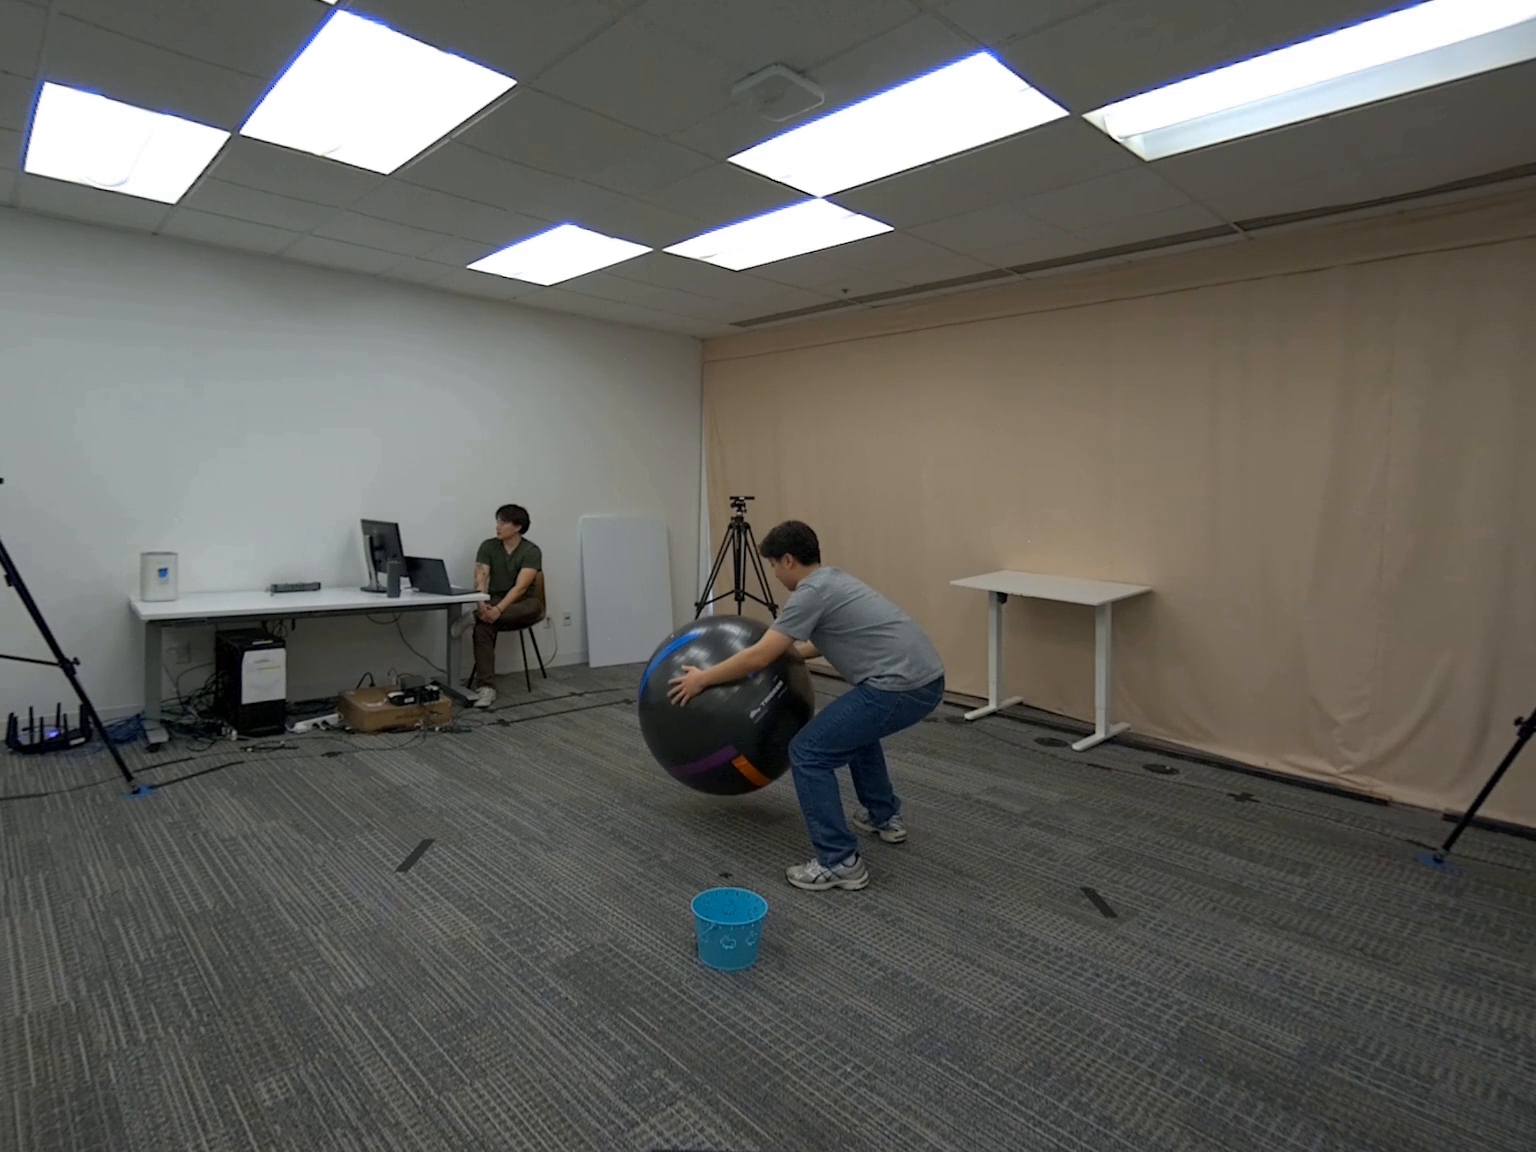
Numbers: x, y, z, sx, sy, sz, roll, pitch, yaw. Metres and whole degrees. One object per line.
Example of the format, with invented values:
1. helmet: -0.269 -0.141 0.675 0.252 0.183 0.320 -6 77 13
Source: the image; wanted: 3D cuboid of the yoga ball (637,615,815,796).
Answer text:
1. yoga ball: -0.184 0.540 3.606 0.757 0.756 0.761 1 4 -1
